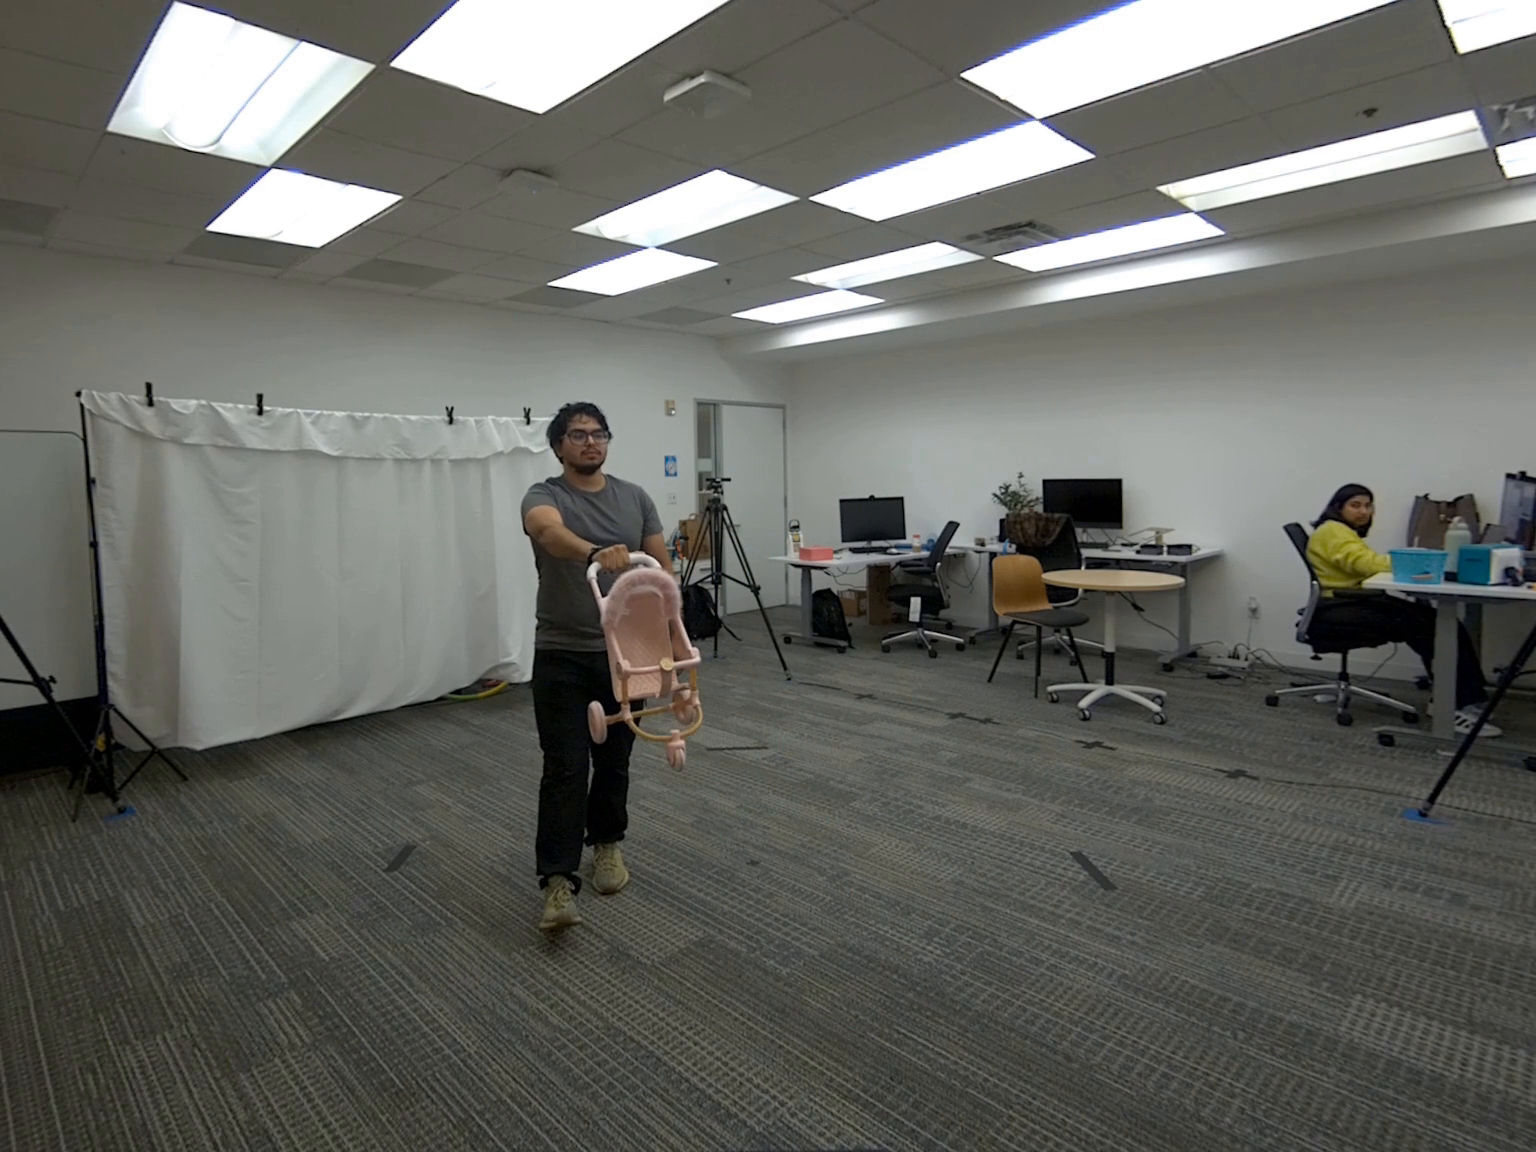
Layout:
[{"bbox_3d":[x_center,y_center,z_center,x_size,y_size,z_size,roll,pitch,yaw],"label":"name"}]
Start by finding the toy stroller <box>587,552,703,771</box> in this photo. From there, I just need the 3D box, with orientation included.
[{"bbox_3d":[-0.311,0.217,2.220,0.276,0.535,0.347,-5,0,-23],"label":"toy stroller"}]
